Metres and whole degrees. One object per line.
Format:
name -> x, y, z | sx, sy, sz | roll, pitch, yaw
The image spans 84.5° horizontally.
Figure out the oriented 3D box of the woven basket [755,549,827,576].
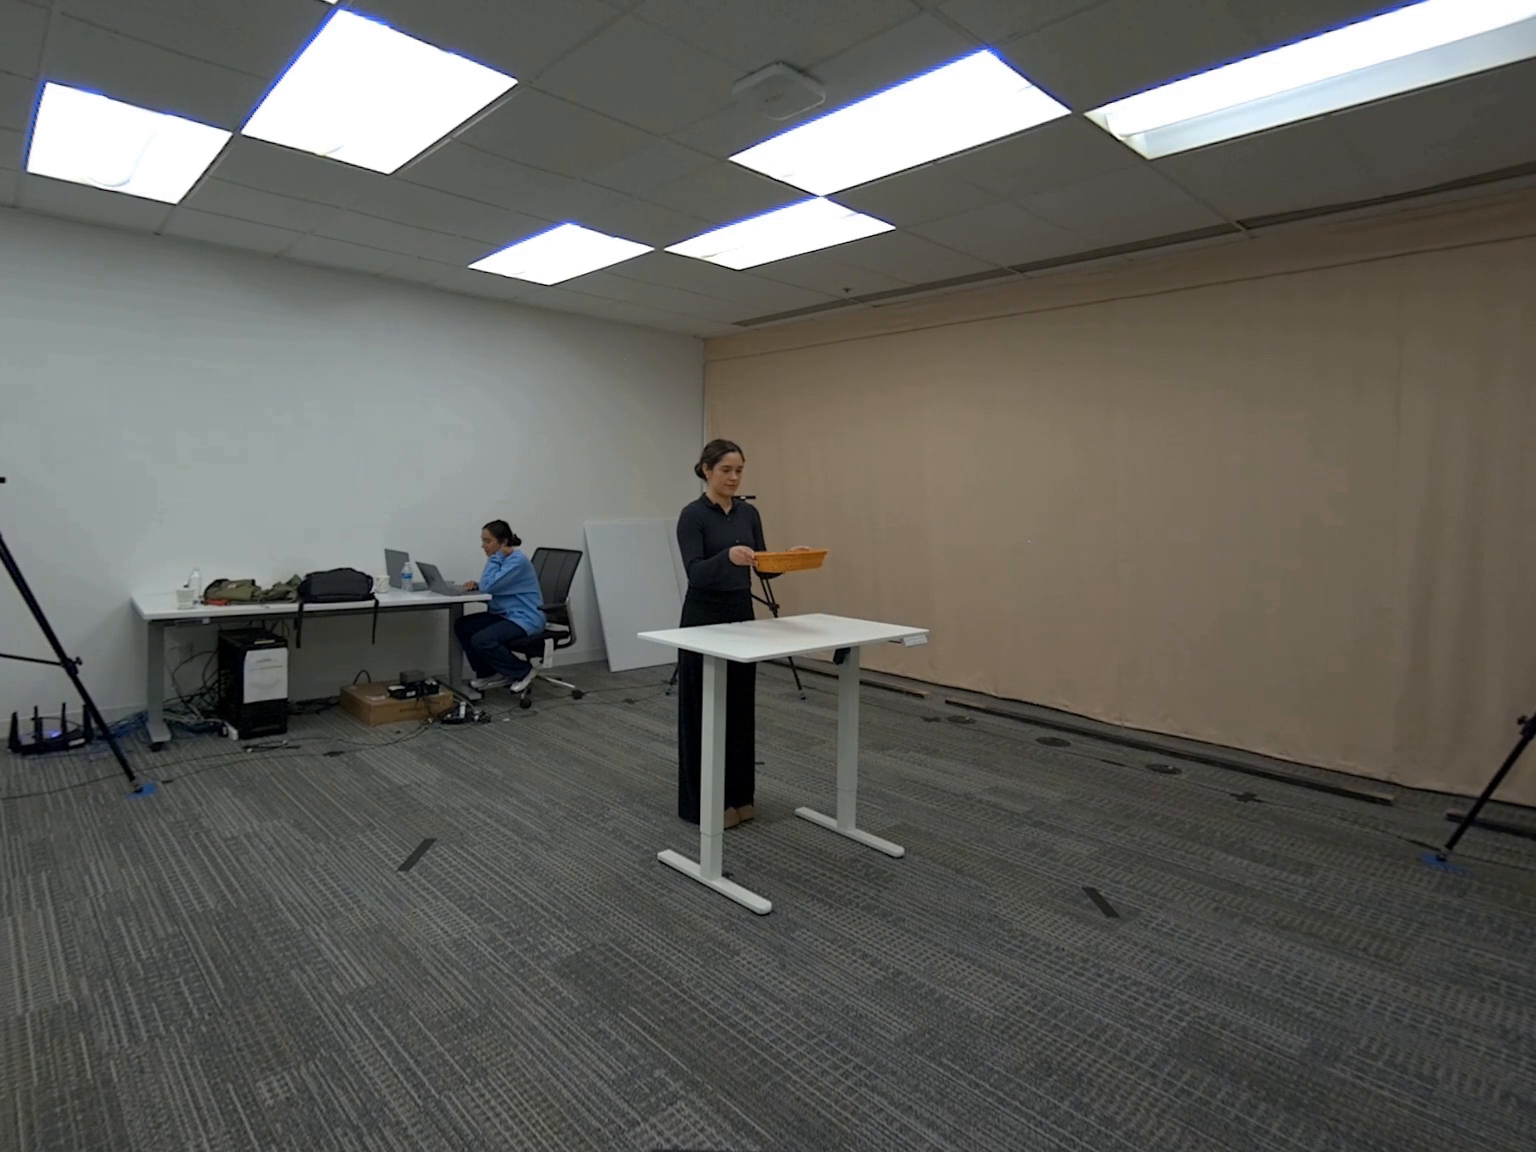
woven basket -> 0.047, -0.050, 3.281 | 0.343, 0.073, 0.258 | -4, 4, -36
